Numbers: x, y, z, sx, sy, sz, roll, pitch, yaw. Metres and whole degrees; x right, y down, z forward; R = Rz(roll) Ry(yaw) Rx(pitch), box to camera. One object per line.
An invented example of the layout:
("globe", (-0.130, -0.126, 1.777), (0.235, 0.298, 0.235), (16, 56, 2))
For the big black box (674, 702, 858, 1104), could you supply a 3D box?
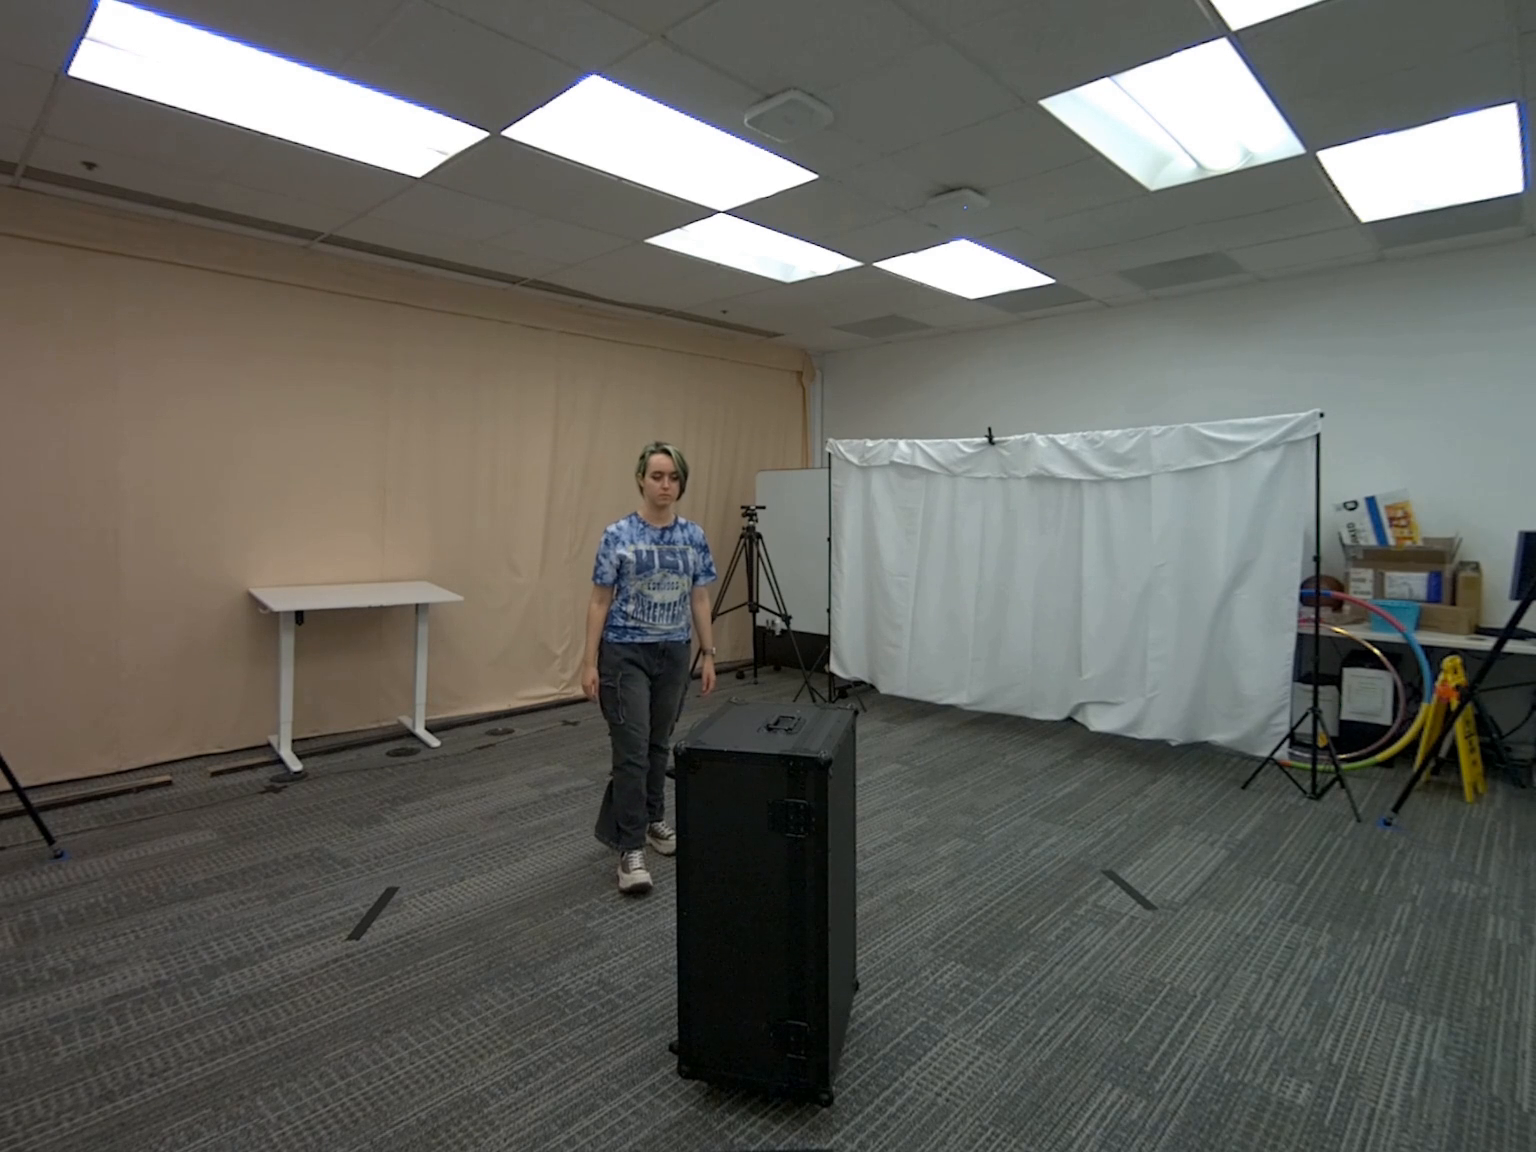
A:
("big black box", (0.007, 0.791, 2.103), (0.403, 0.859, 0.513), (0, 4, 15))
